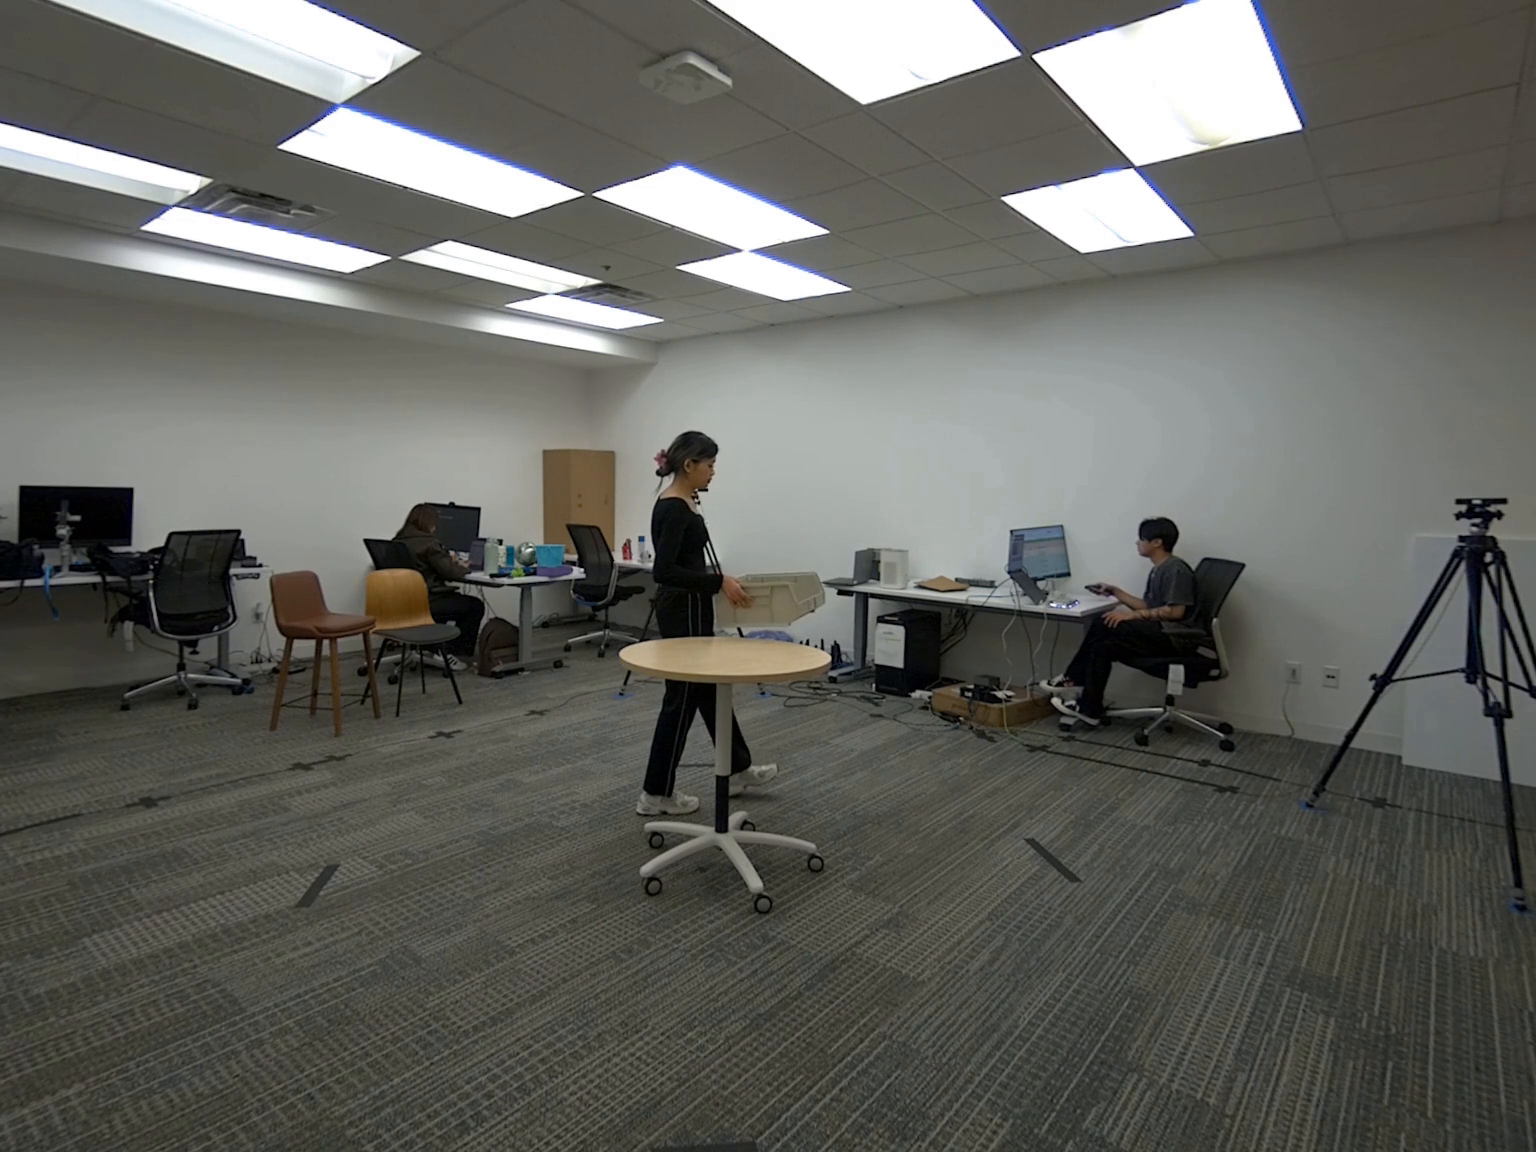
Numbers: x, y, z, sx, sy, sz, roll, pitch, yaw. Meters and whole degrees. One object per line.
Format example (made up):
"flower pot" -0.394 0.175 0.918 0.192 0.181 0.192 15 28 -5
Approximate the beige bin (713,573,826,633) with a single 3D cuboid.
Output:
"beige bin" 0.001 0.101 3.648 0.385 0.188 0.416 -4 5 20
